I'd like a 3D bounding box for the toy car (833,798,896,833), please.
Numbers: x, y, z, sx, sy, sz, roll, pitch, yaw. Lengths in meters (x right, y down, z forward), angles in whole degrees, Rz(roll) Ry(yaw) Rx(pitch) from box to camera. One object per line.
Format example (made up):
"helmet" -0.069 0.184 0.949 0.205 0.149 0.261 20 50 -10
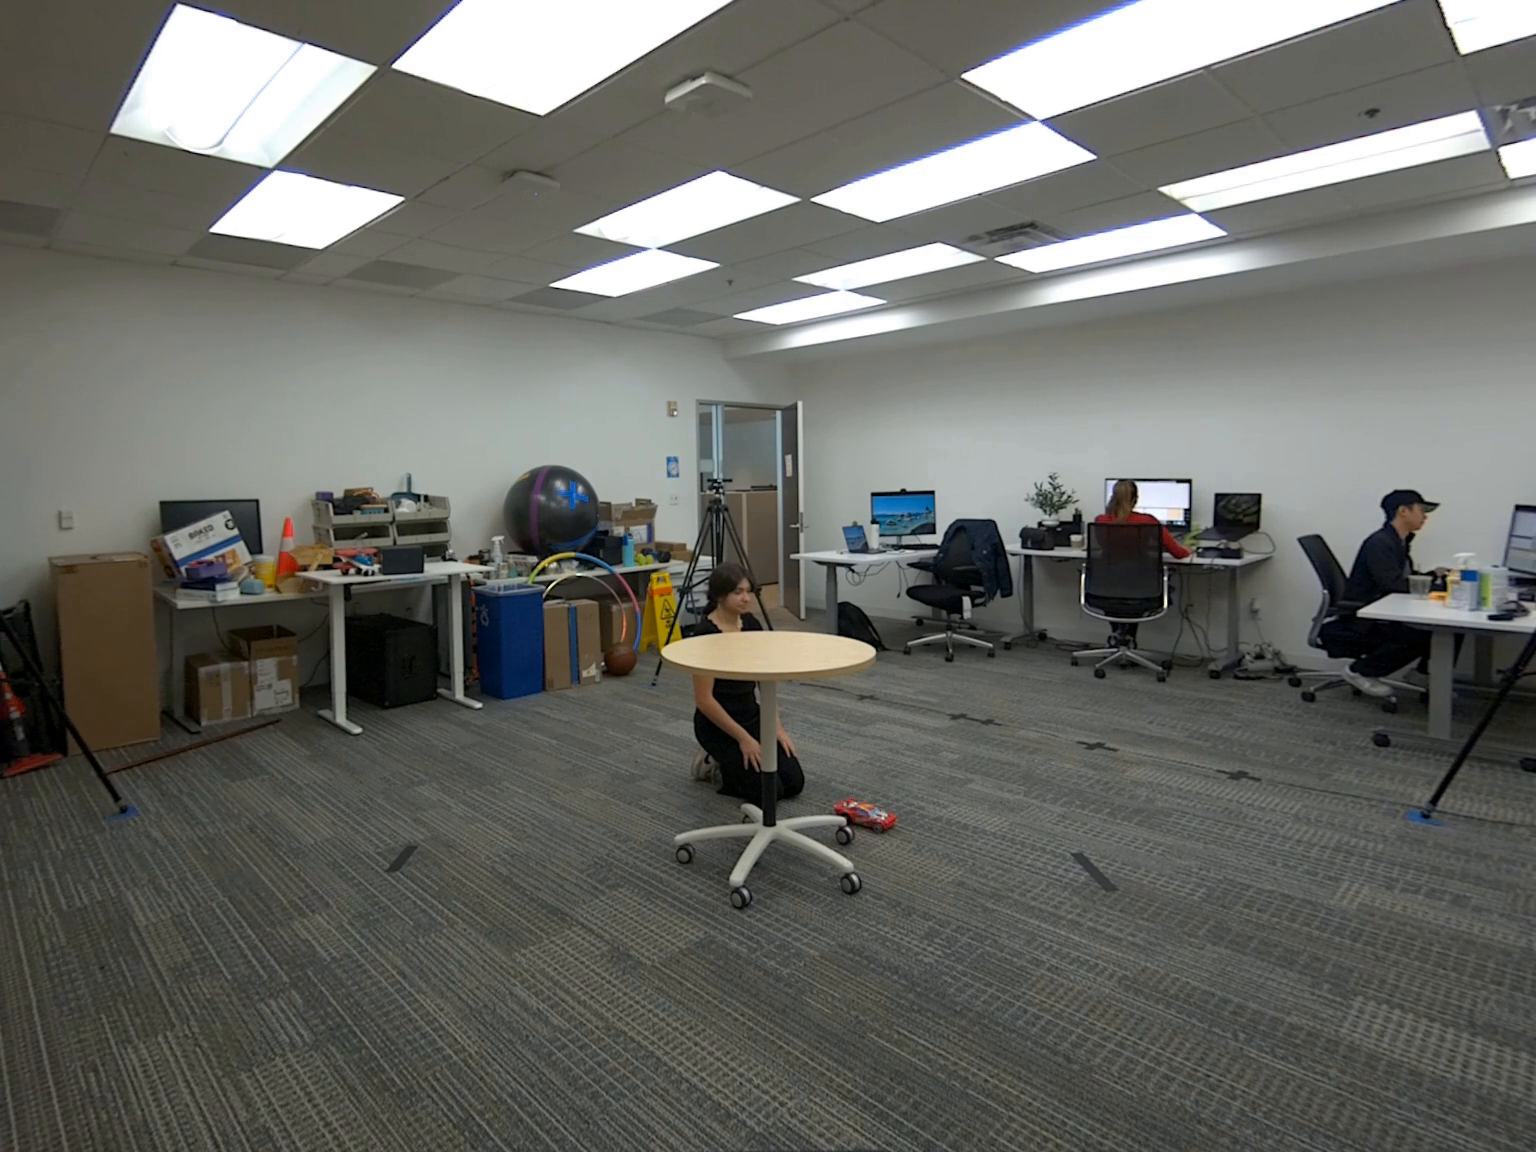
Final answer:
"toy car" 0.386 0.970 3.455 0.263 0.082 0.127 17 16 36
